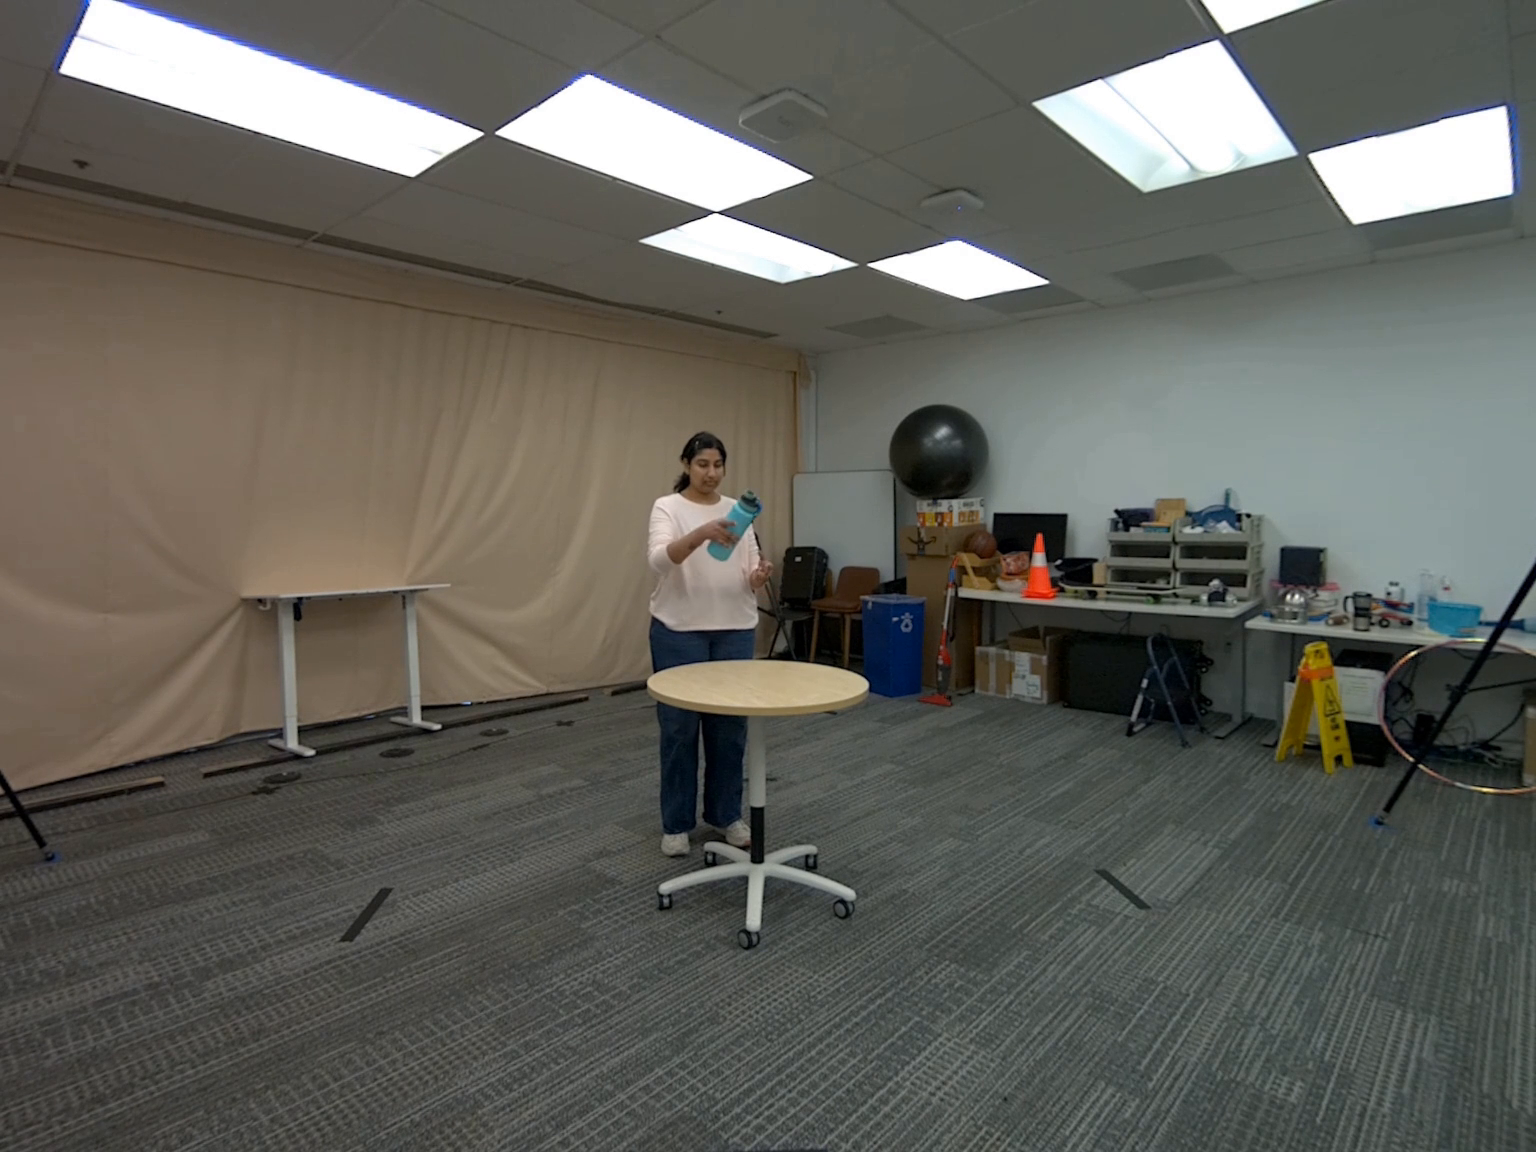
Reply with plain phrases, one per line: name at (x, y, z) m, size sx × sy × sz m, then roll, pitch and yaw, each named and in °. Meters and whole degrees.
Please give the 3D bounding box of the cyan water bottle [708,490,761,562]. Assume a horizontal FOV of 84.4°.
cyan water bottle at (-0.114, -0.165, 3.049) m, size 0.090 × 0.284 × 0.094 m, roll 25°, pitch 29°, yaw -17°
